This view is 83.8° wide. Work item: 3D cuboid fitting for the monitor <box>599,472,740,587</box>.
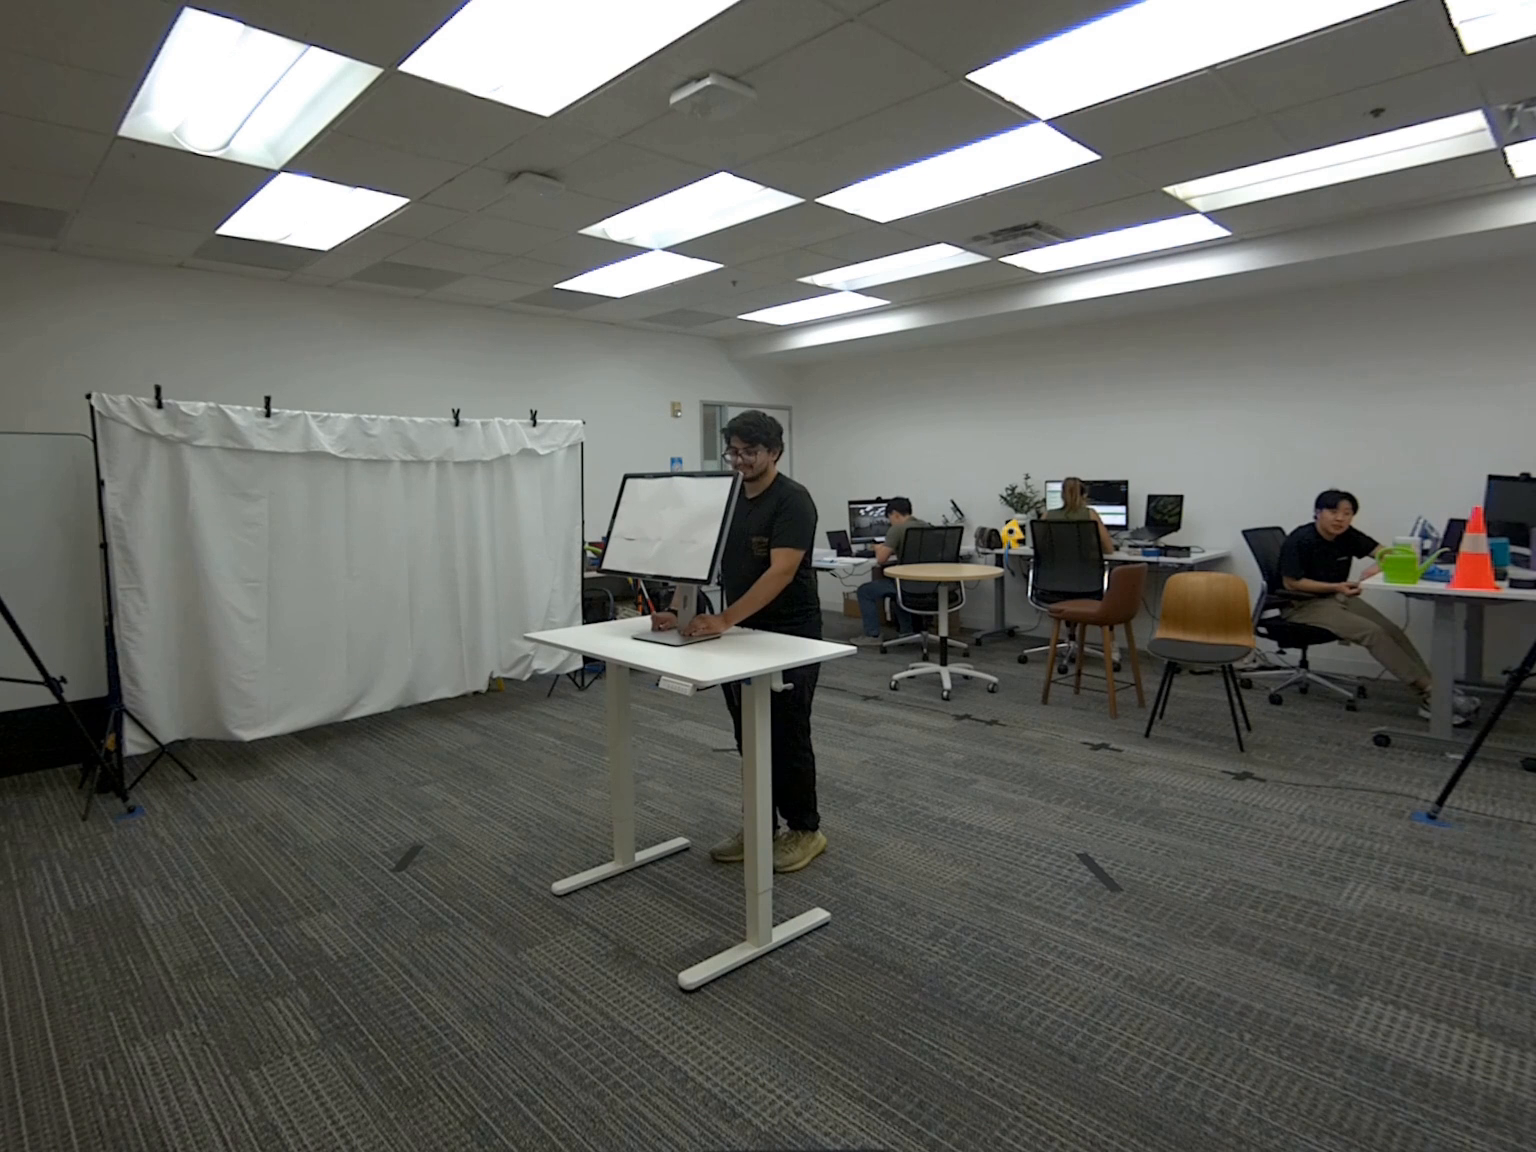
[{"bbox_3d":[-0.289,-0.064,2.799,0.583,0.556,0.203,3,-6,43],"label":"monitor"}]
